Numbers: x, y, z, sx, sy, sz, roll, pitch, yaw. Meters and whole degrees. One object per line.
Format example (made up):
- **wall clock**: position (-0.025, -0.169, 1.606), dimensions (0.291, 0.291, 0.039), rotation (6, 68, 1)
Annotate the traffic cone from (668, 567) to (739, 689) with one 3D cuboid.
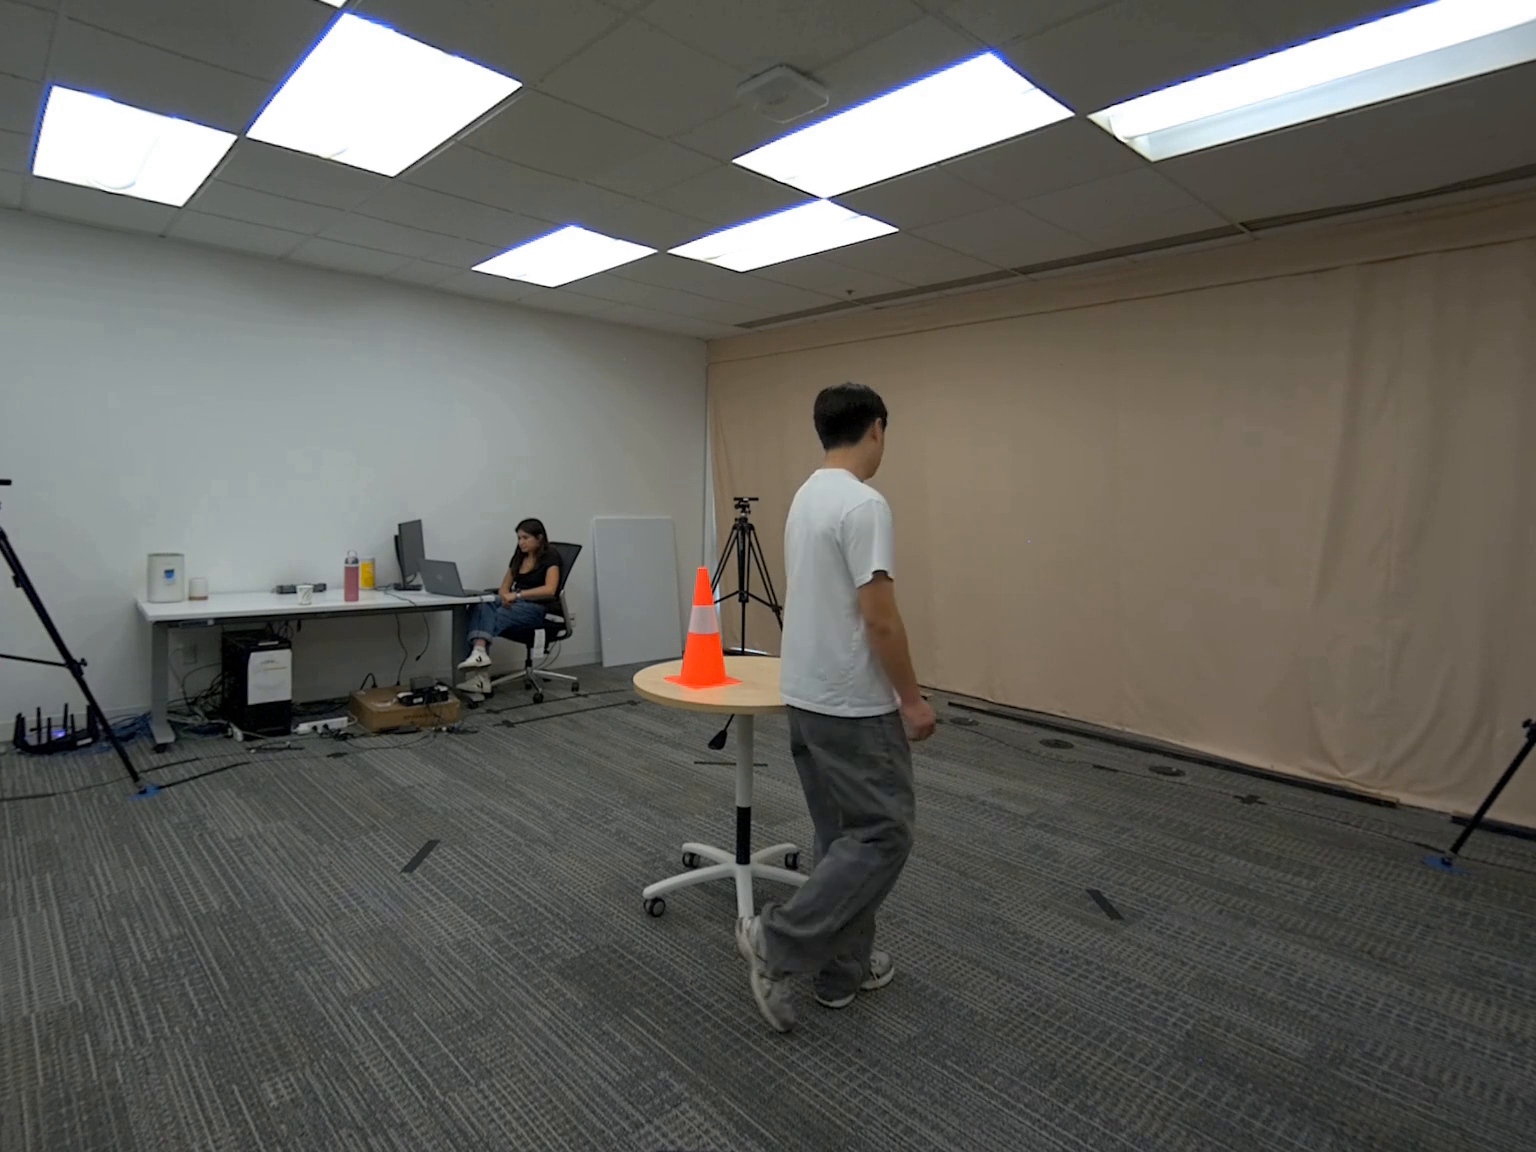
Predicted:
- **traffic cone**: position (-0.220, 0.169, 2.797), dimensions (0.208, 0.383, 0.200), rotation (4, 5, 41)
